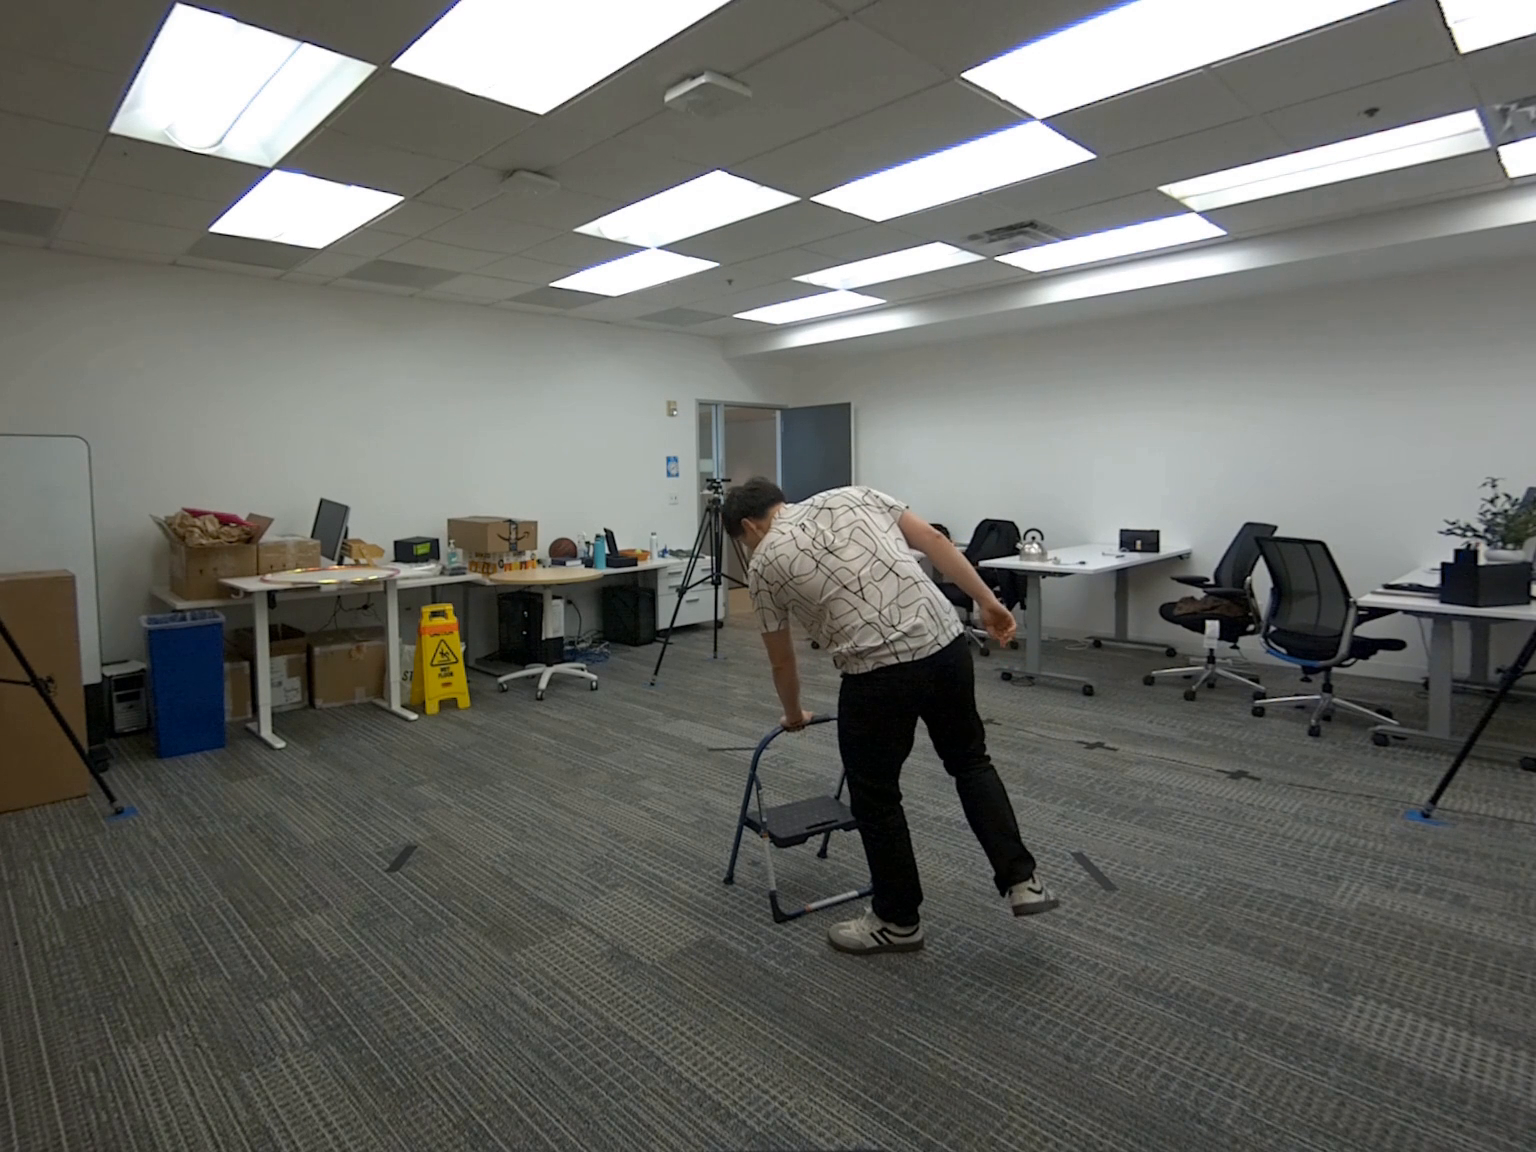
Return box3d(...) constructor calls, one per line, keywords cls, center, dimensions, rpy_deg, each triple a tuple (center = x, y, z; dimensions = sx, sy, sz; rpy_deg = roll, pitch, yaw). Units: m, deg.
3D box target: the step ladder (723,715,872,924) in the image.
box3d(cls="step ladder", center=(0.111, 0.757, 2.900), dimensions=(0.420, 0.603, 0.359), rpy_deg=(-3, 5, -31))
